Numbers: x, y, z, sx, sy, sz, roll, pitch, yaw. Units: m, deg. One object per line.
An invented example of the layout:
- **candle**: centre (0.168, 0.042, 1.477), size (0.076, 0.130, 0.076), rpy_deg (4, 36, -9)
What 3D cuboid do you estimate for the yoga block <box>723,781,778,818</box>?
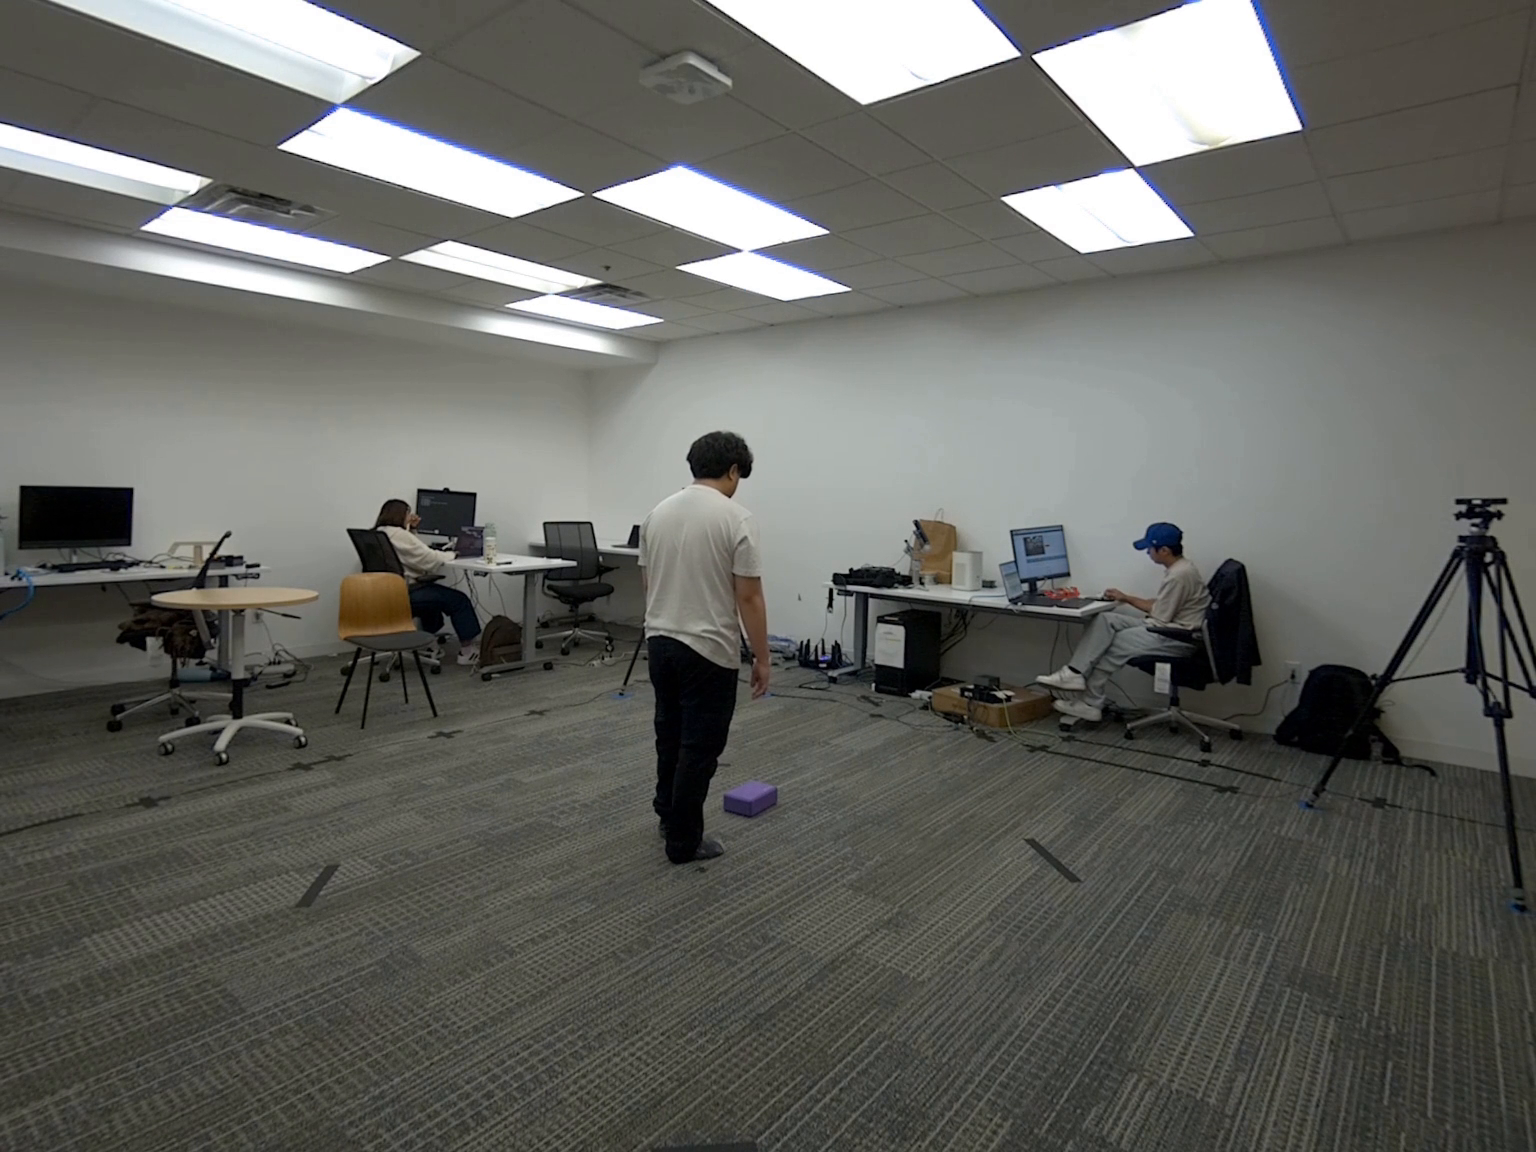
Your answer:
- **yoga block**: centre (-0.085, 0.973, 3.736), size (0.153, 0.076, 0.223), rpy_deg (3, 5, 31)
